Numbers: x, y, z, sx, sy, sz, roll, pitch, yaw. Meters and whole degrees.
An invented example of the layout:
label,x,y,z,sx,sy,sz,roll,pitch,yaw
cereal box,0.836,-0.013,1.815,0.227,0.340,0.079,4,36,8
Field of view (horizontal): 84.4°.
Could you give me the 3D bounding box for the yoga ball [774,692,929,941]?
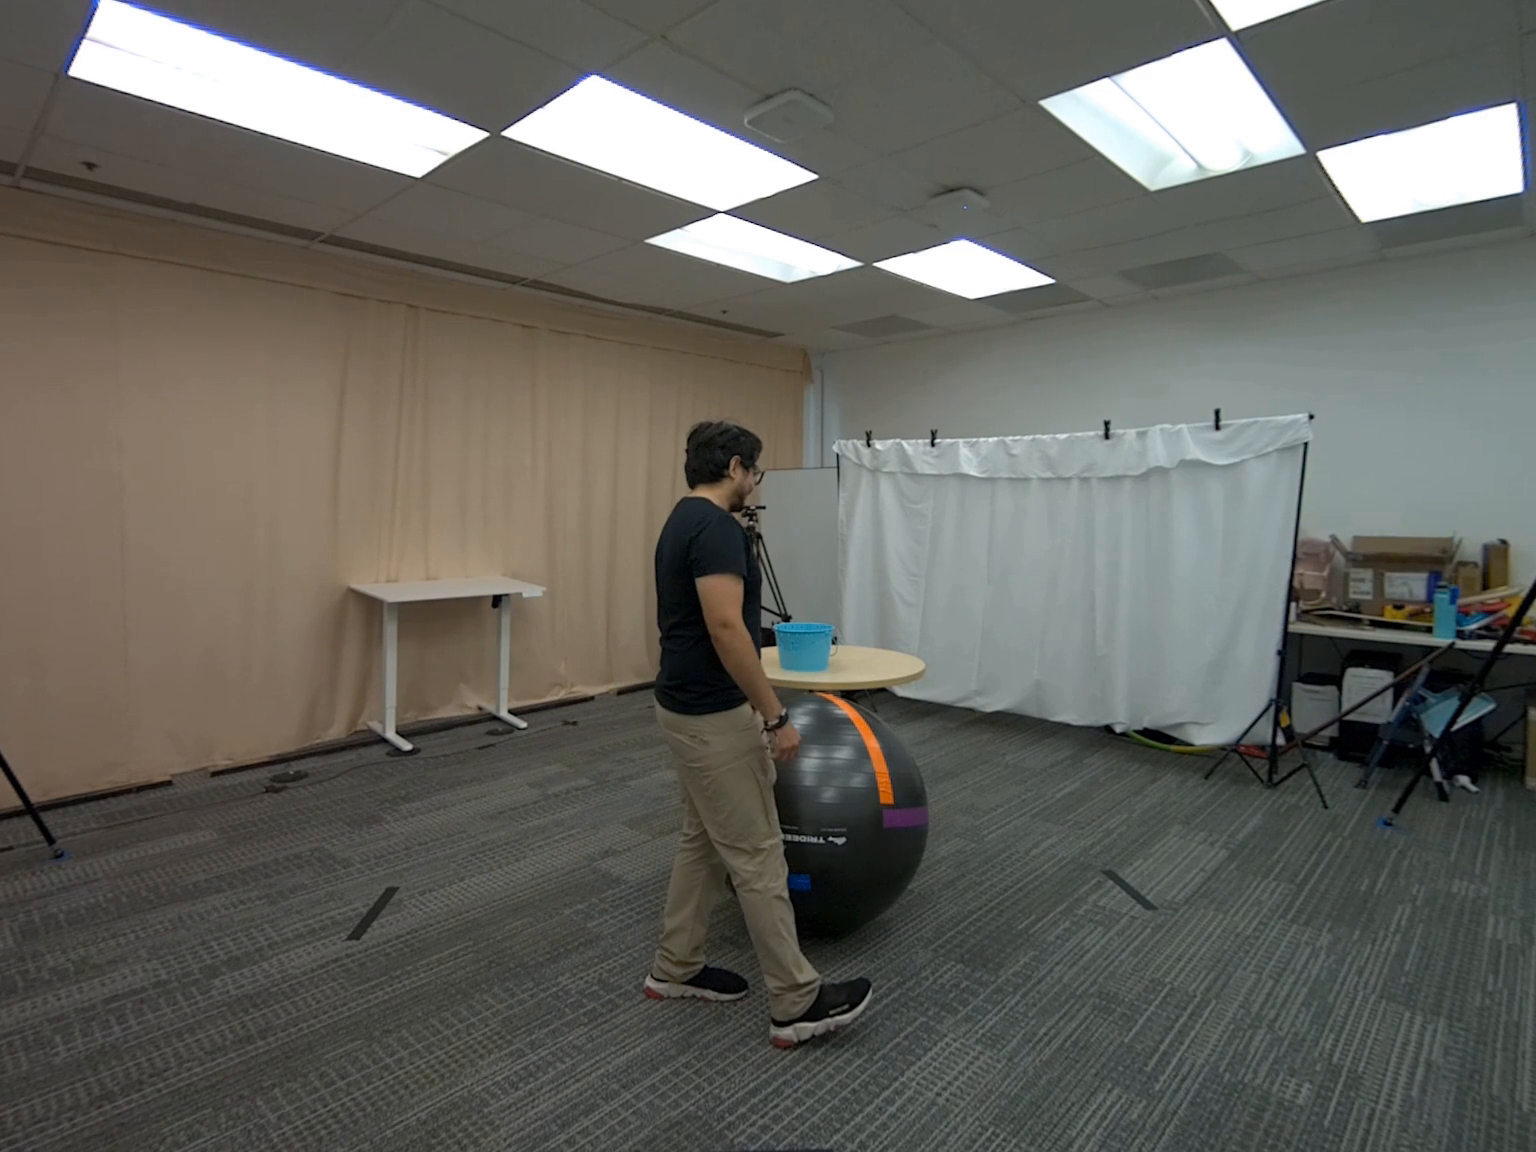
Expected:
label,x,y,z,sx,sy,sz,roll,pitch,yaw
yoga ball,0.150,0.793,2.819,0.757,0.756,0.760,0,4,-2
